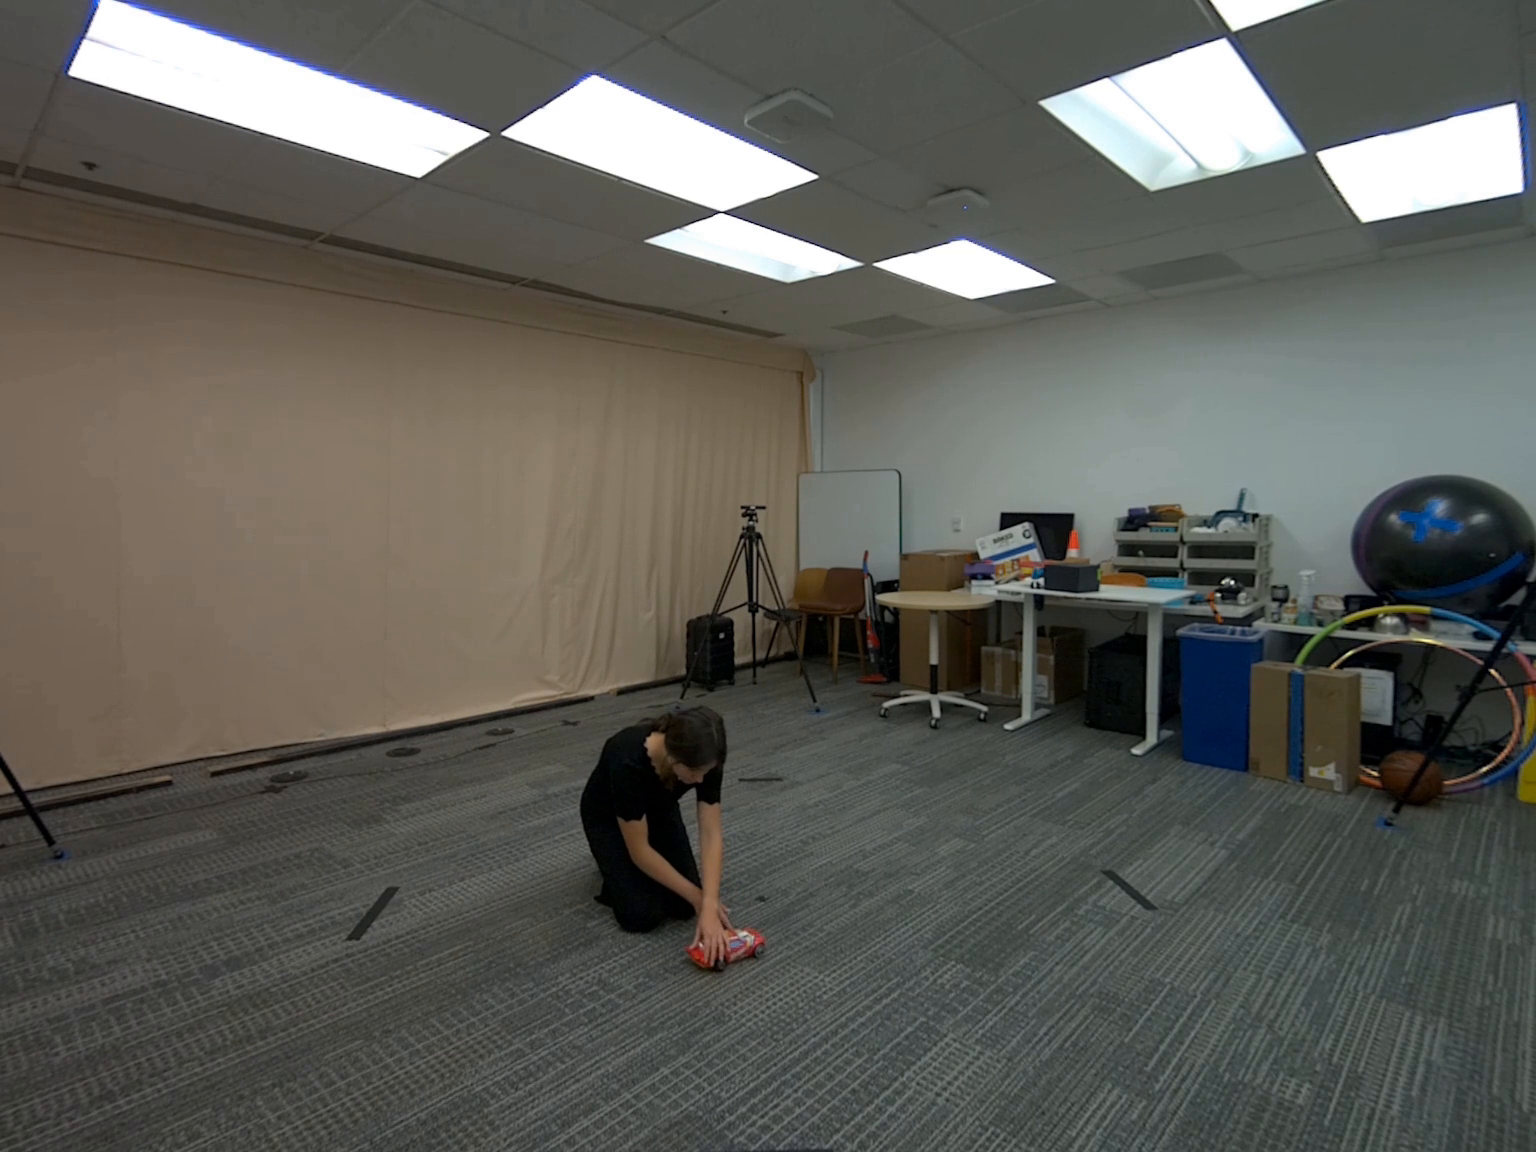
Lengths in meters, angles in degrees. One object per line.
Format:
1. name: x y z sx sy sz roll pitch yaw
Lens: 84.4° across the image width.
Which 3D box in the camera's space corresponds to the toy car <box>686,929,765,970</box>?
1. toy car: -0.131 1.147 2.584 0.247 0.083 0.134 9 -2 -33
